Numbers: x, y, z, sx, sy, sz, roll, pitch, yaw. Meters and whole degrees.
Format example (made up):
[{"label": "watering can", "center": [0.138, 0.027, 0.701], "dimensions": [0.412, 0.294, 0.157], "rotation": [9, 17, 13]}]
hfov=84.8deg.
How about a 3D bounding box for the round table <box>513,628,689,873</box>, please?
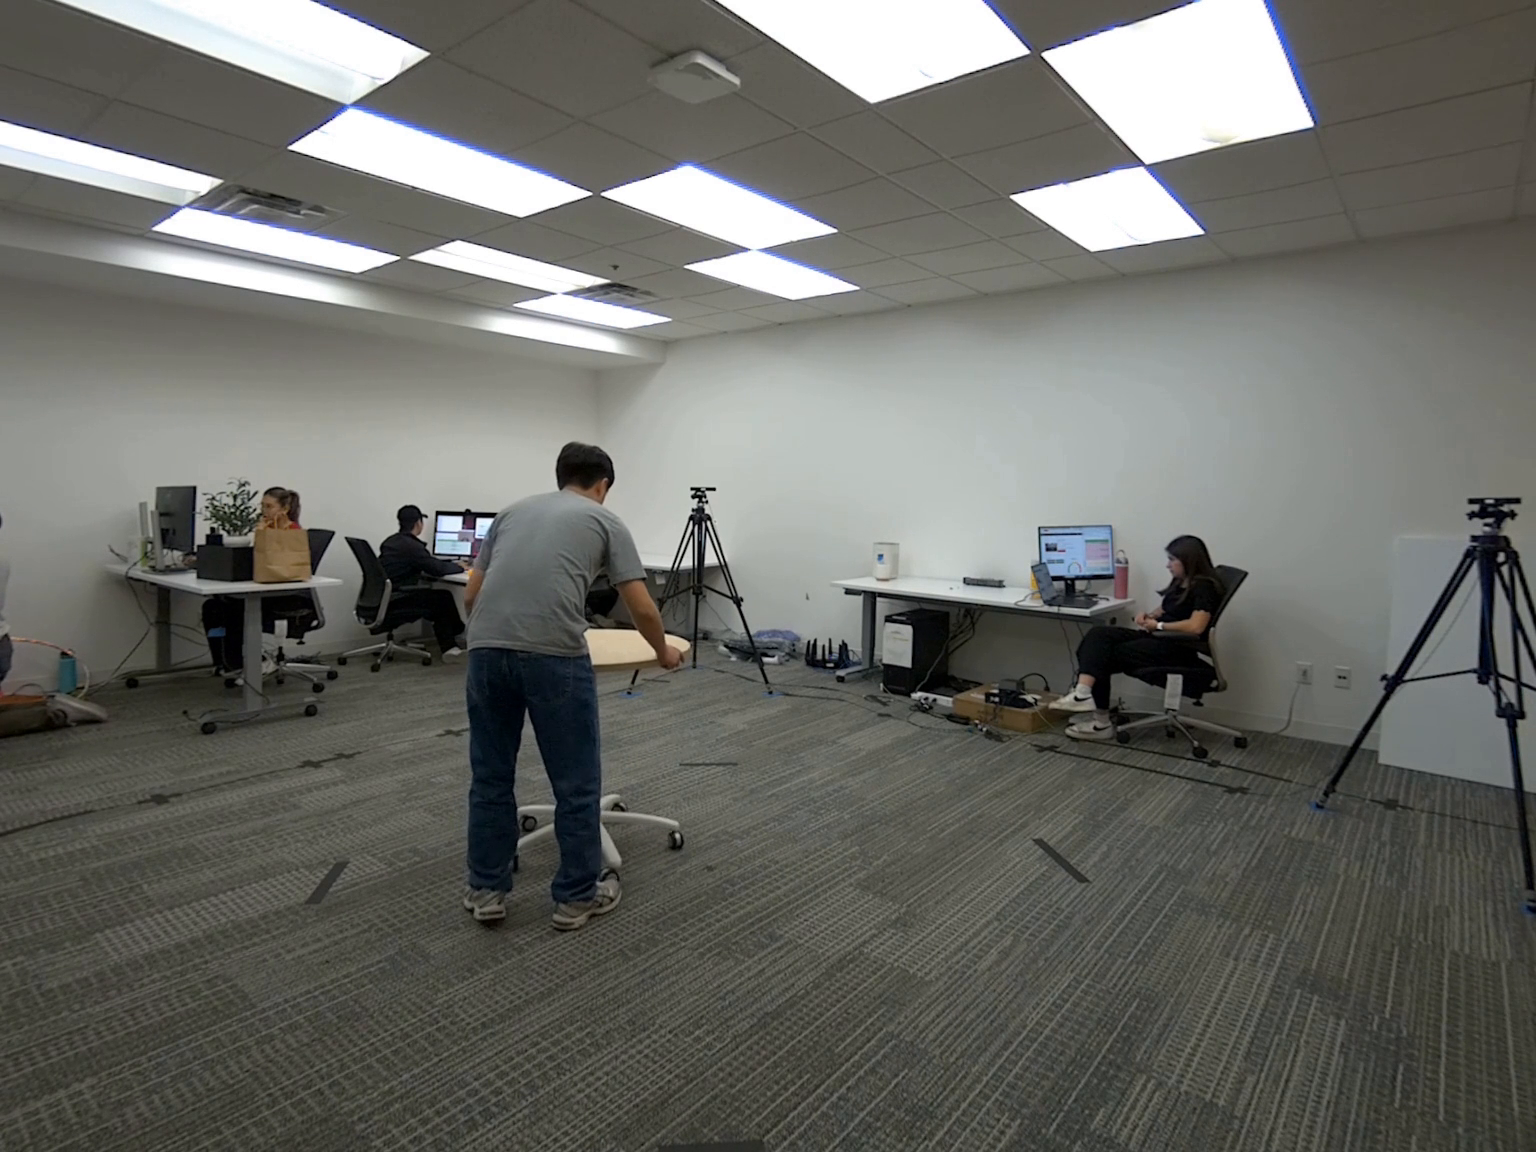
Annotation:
[{"label": "round table", "center": [-0.694, 0.654, 3.258], "dimensions": [0.763, 0.792, 0.767], "rotation": [1, 3, -2]}]
